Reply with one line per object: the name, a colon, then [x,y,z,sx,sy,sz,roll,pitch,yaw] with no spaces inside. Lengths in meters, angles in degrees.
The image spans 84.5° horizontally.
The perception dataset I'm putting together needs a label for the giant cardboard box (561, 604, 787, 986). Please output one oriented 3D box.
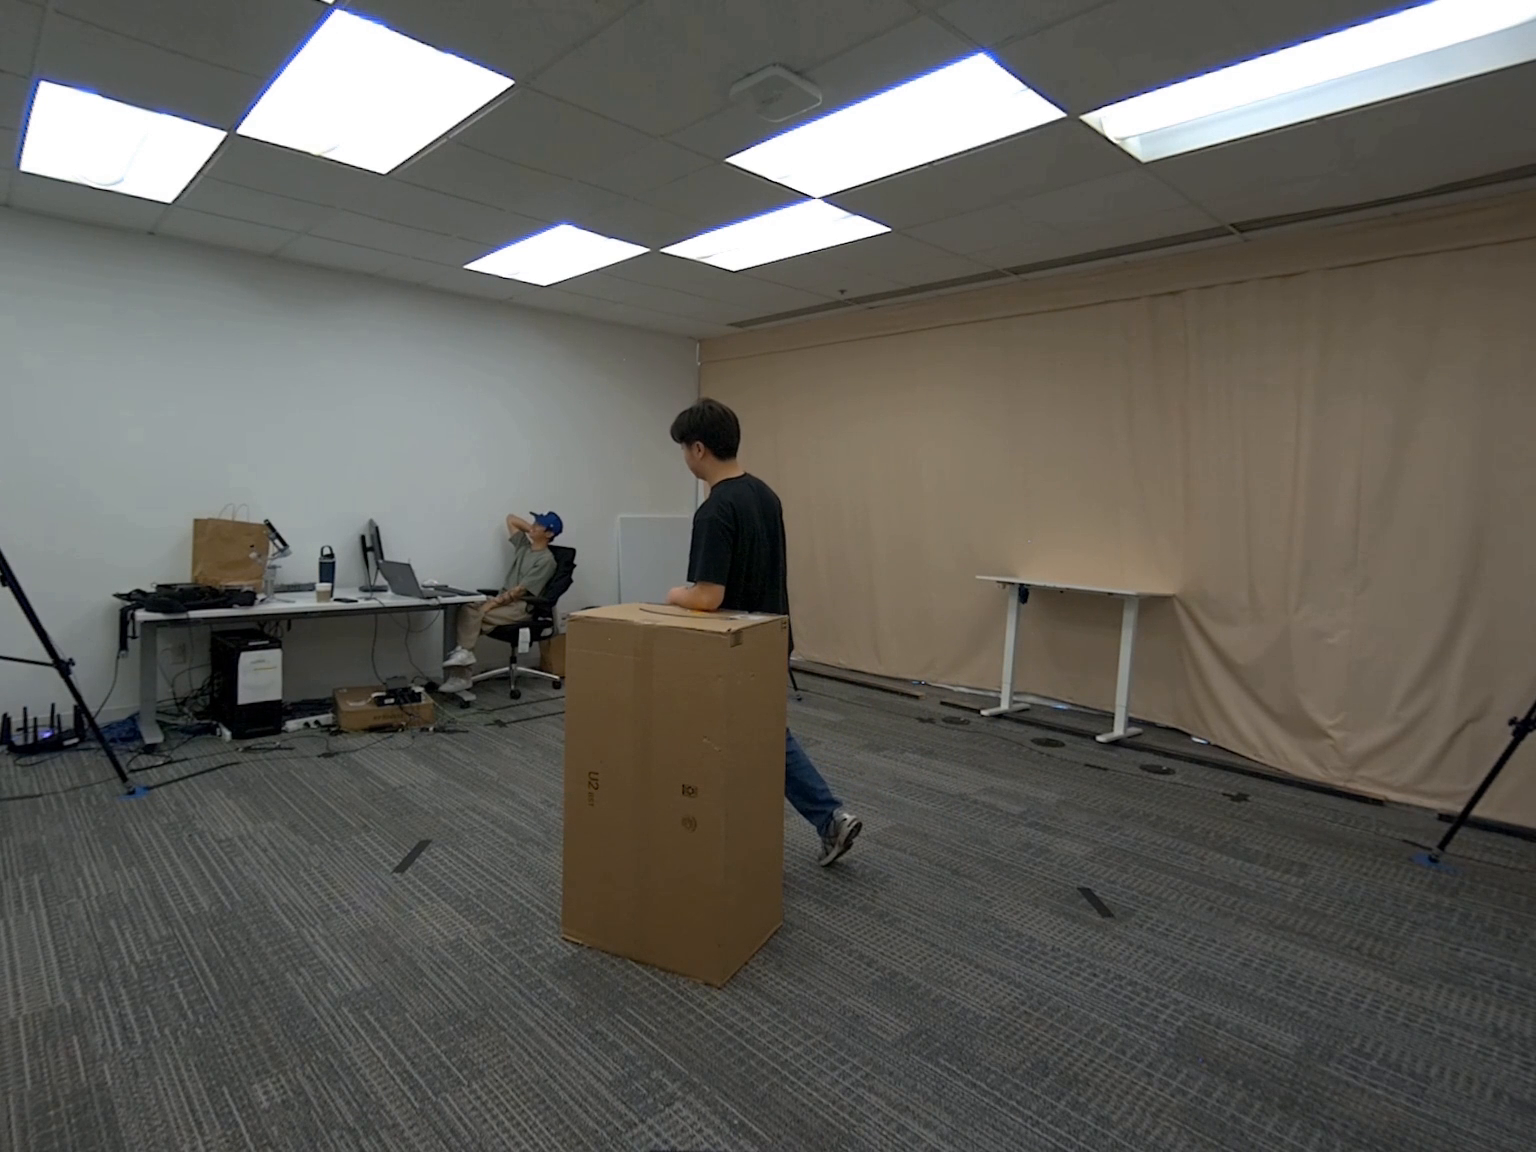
giant cardboard box: [-0.296,0.630,2.675,0.596,1.026,0.438,3,2,28]
